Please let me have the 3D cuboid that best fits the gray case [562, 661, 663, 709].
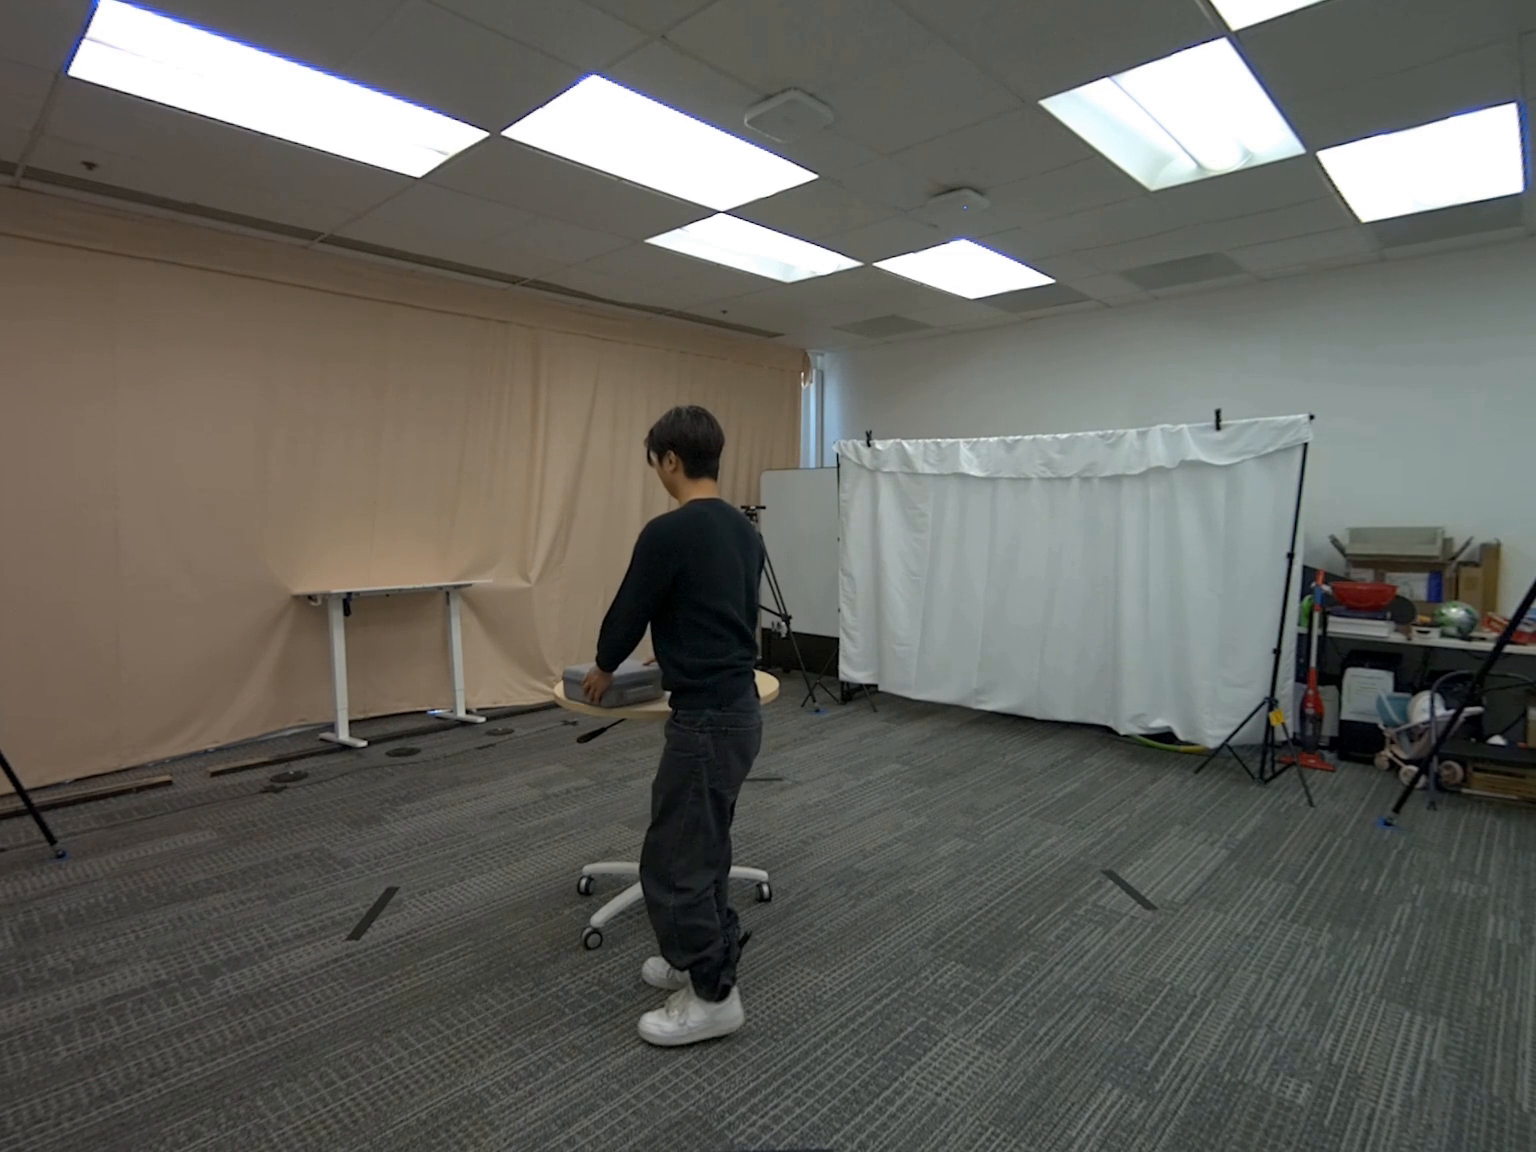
[{"bbox_3d":[-0.484,0.337,2.689,0.249,0.104,0.269,-3,5,-43],"label":"gray case"}]
